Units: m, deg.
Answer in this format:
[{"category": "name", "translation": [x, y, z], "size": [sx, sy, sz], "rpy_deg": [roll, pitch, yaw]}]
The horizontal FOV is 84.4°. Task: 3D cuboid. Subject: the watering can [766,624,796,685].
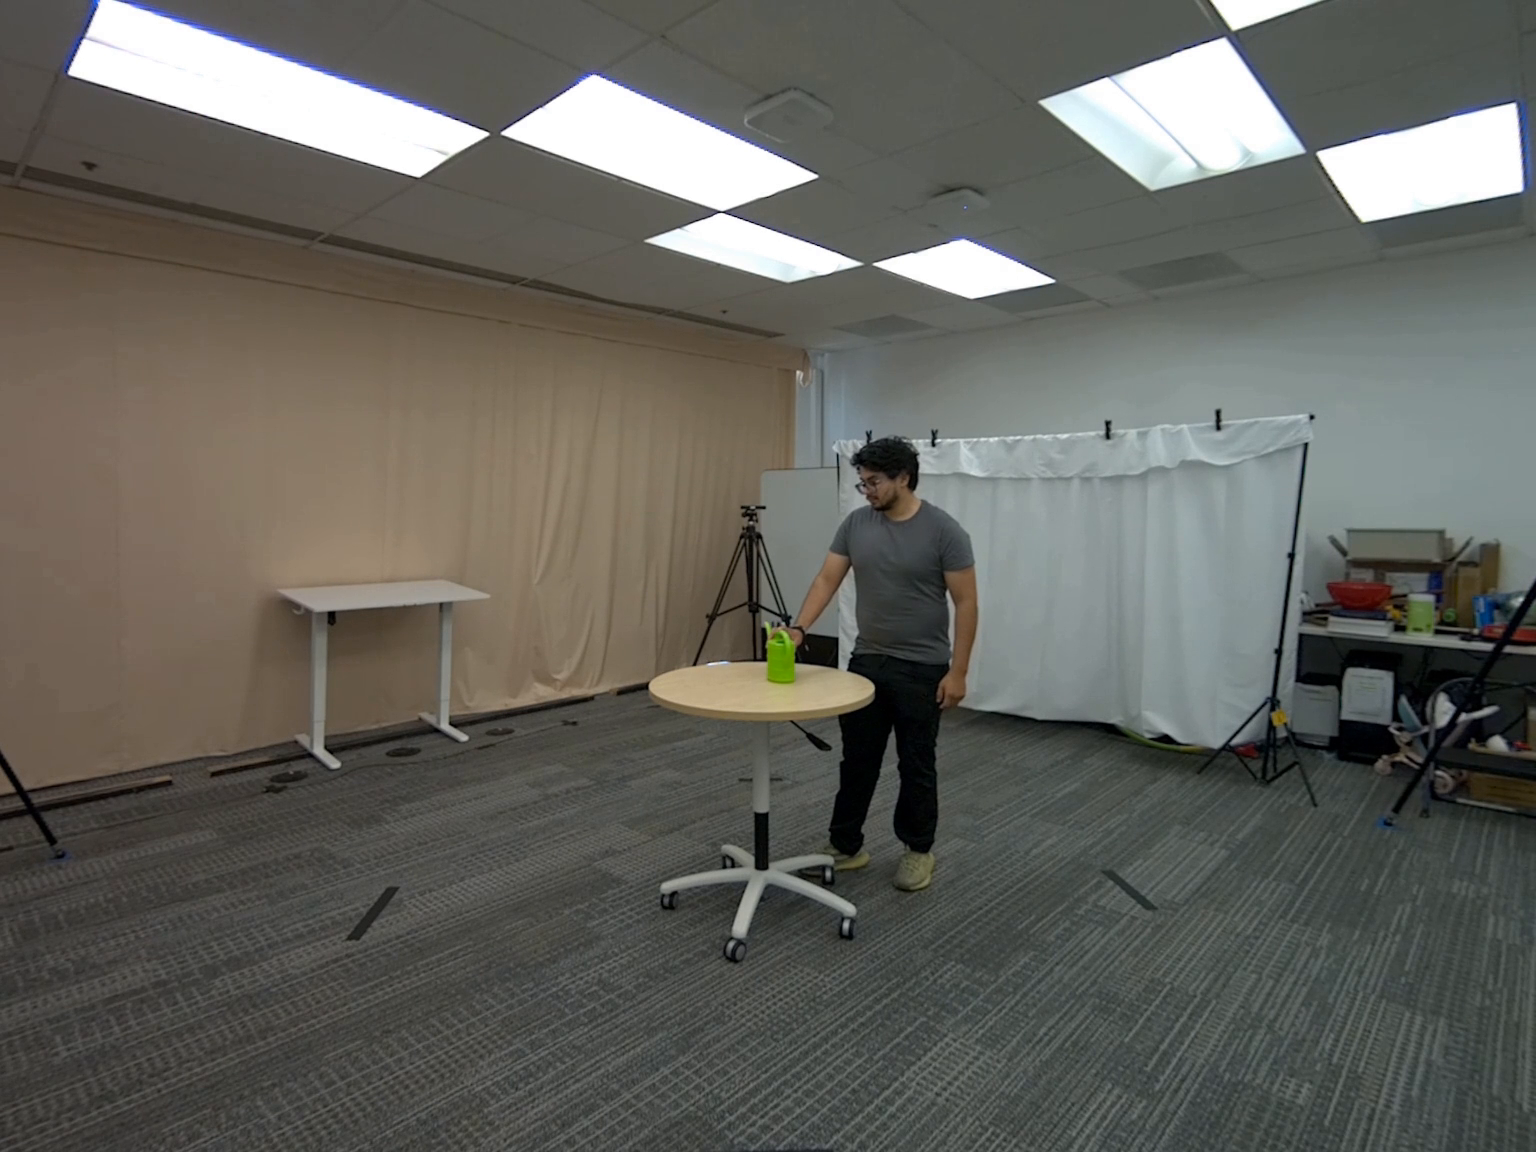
[{"category": "watering can", "translation": [0.045, 0.277, 2.988], "size": [0.097, 0.176, 0.280], "rpy_deg": [1, 7, -6]}]
